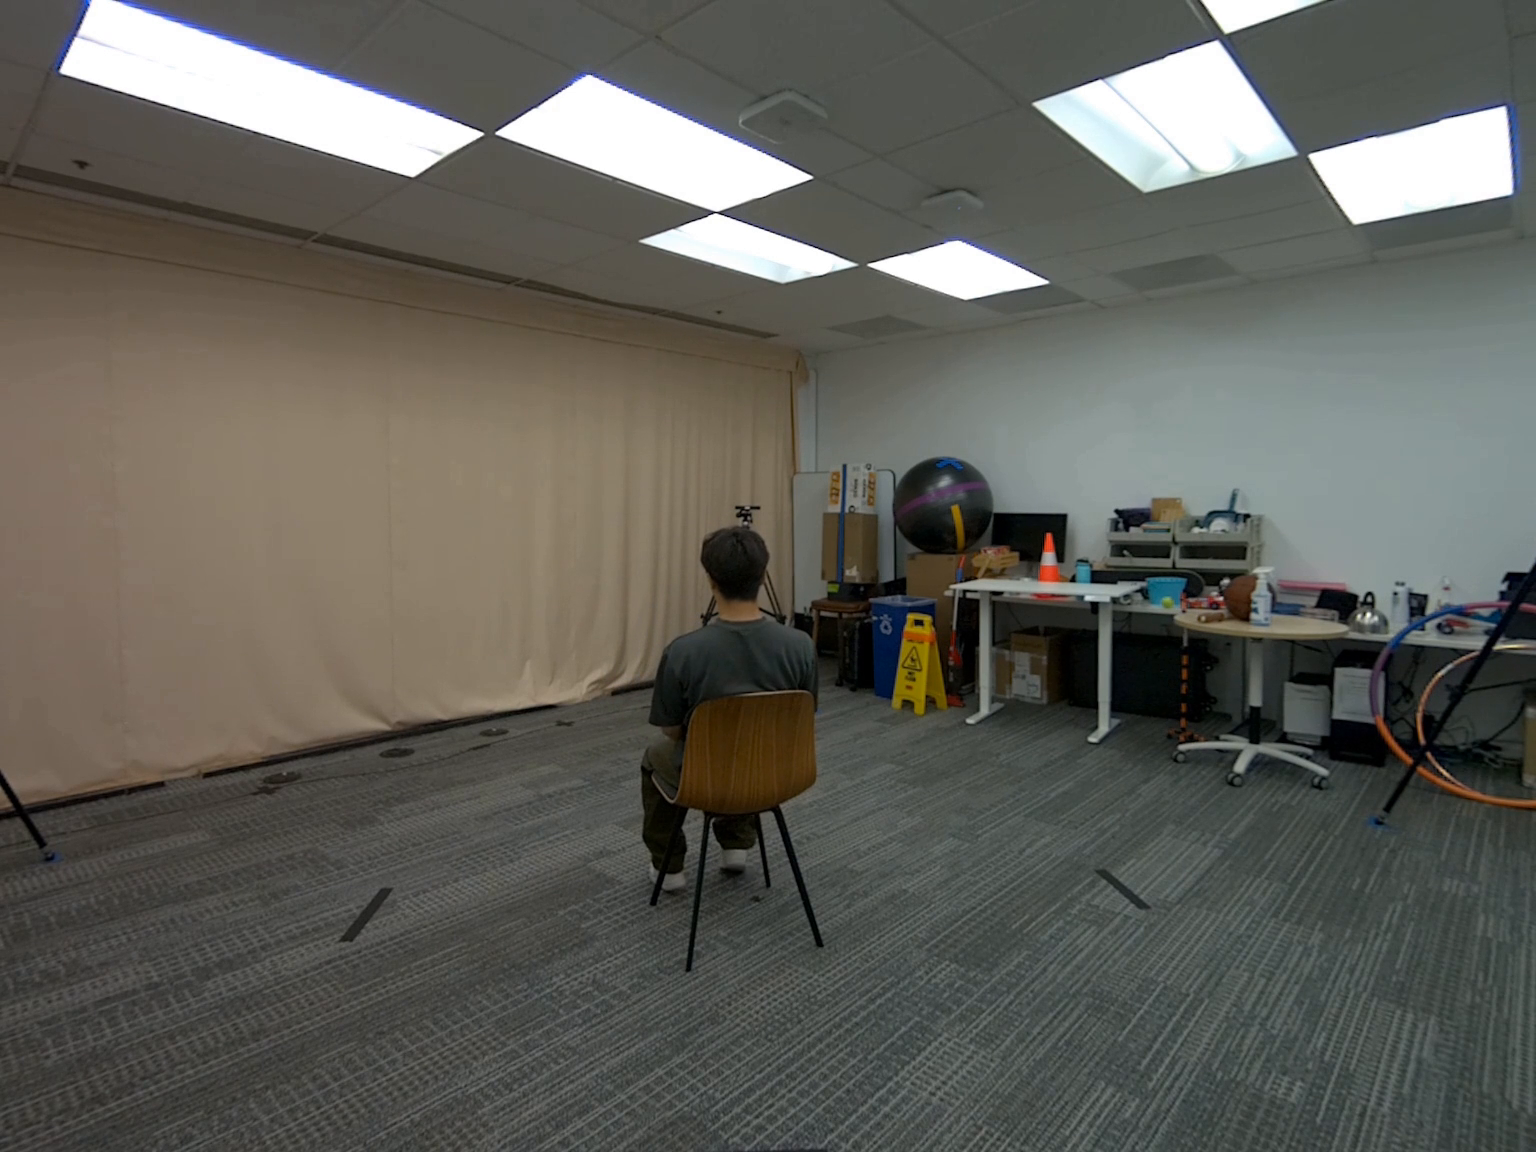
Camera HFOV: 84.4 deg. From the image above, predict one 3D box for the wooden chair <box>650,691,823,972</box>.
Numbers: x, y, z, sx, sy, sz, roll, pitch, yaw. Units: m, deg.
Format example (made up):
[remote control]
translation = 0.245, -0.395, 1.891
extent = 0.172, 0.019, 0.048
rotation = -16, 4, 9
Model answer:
[wooden chair]
translation = -0.119, 0.728, 2.774
extent = 0.469, 0.873, 0.536
rotation = -2, 8, -20
